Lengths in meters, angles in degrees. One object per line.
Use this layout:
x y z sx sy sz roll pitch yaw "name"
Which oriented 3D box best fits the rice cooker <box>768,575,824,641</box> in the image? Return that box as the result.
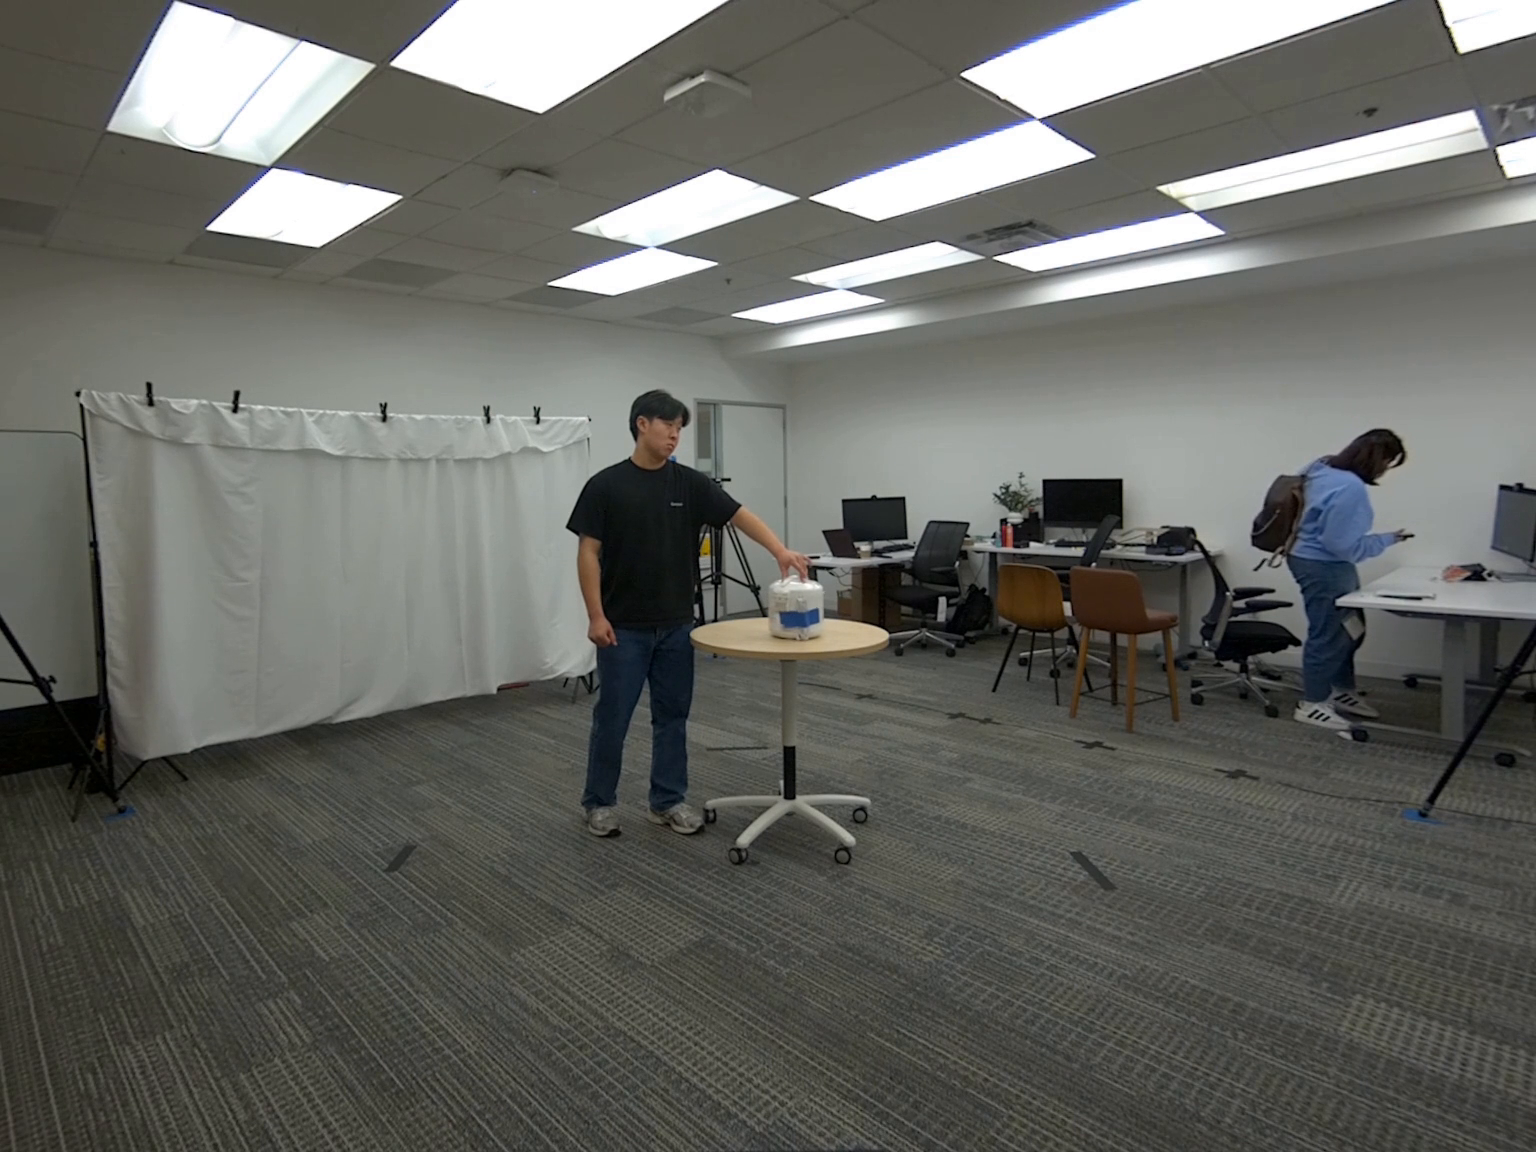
0.105 0.111 3.238 0.224 0.232 0.215 4 6 36 "rice cooker"
